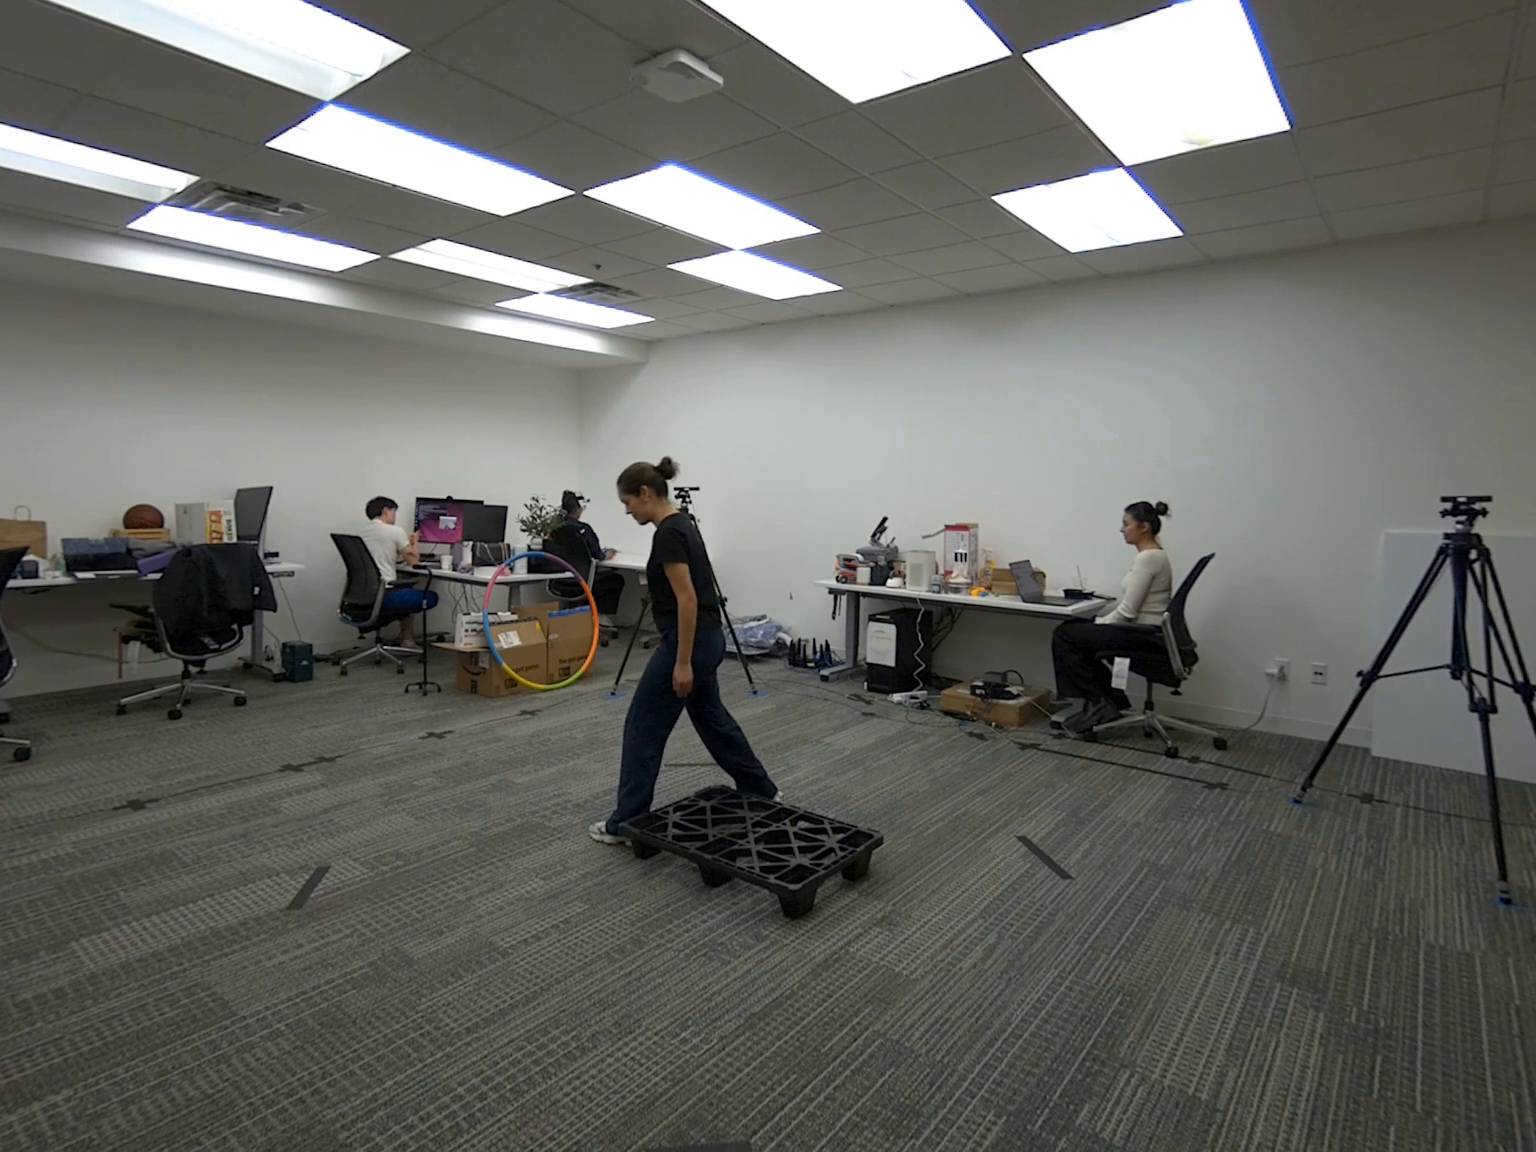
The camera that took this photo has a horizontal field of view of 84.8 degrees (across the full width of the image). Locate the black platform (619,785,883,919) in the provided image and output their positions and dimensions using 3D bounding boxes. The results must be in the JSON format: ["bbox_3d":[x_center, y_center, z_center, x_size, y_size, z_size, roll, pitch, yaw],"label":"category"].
[{"bbox_3d":[-0.050,0.999,3.162,0.832,0.143,0.587,6,7,38],"label":"black platform"}]
